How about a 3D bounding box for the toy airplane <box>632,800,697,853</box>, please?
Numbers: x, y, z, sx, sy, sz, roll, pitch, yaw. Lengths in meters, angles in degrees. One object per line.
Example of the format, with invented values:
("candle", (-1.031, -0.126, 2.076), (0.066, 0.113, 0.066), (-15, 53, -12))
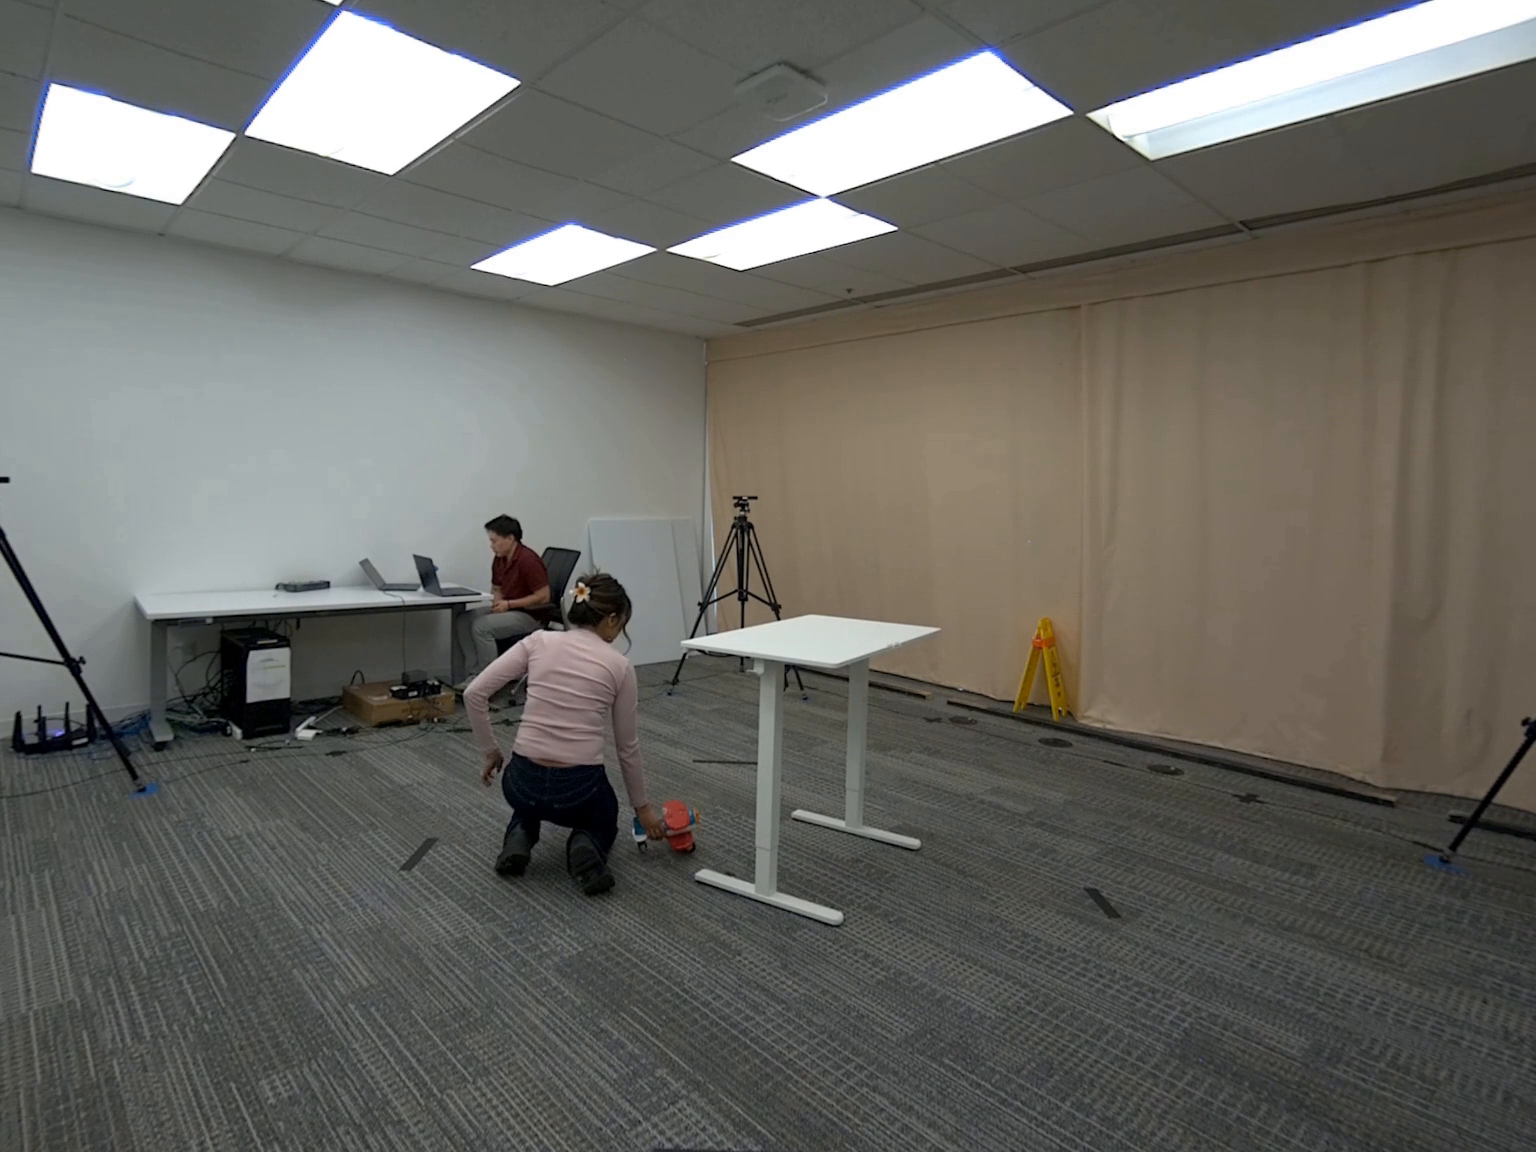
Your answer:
("toy airplane", (-0.400, 0.994, 3.273), (0.253, 0.156, 0.258), (1, 7, -42))
